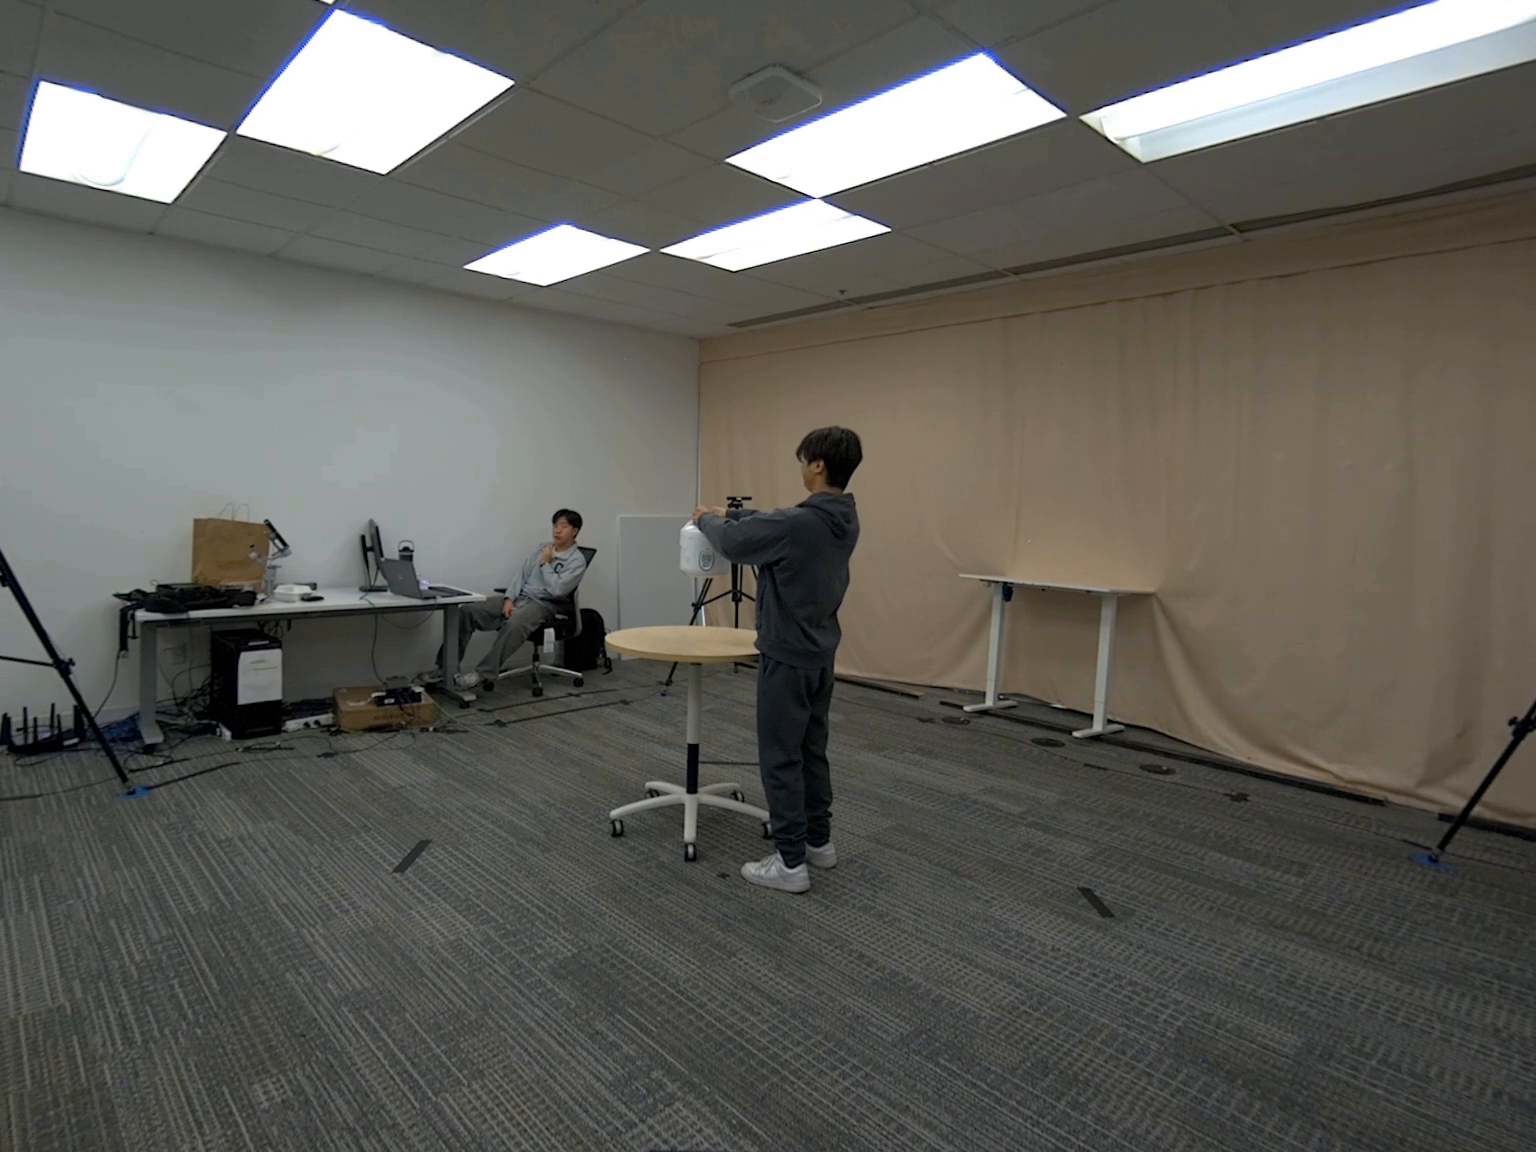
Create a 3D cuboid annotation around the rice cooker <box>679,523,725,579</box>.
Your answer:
[{"bbox_3d":[-0.255,-0.115,3.446,0.220,0.231,0.219,3,7,-4],"label":"rice cooker"}]
